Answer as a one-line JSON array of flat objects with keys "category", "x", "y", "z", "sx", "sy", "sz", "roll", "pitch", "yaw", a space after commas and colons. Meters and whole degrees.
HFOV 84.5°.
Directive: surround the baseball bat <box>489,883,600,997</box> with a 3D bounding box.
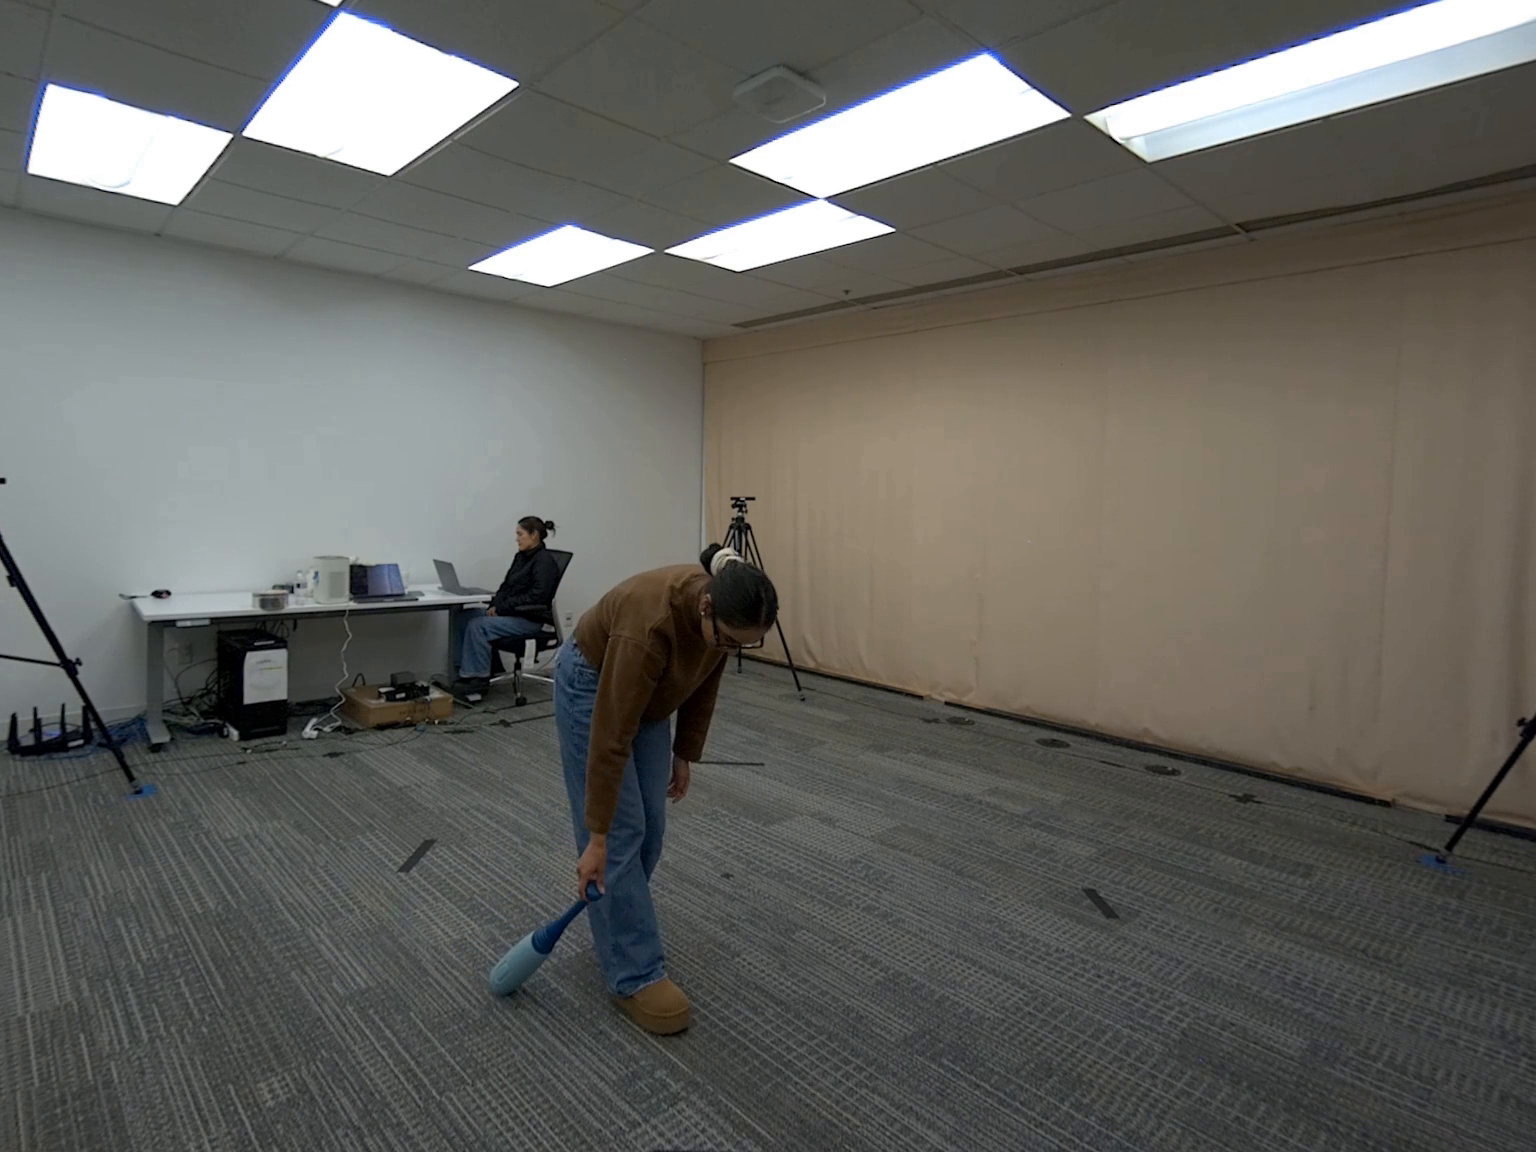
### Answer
[{"category": "baseball bat", "x": -0.594, "y": 0.965, "z": 2.226, "sx": 0.087, "sy": 0.091, "sz": 0.542, "roll": -3, "pitch": -37, "yaw": -50}]
